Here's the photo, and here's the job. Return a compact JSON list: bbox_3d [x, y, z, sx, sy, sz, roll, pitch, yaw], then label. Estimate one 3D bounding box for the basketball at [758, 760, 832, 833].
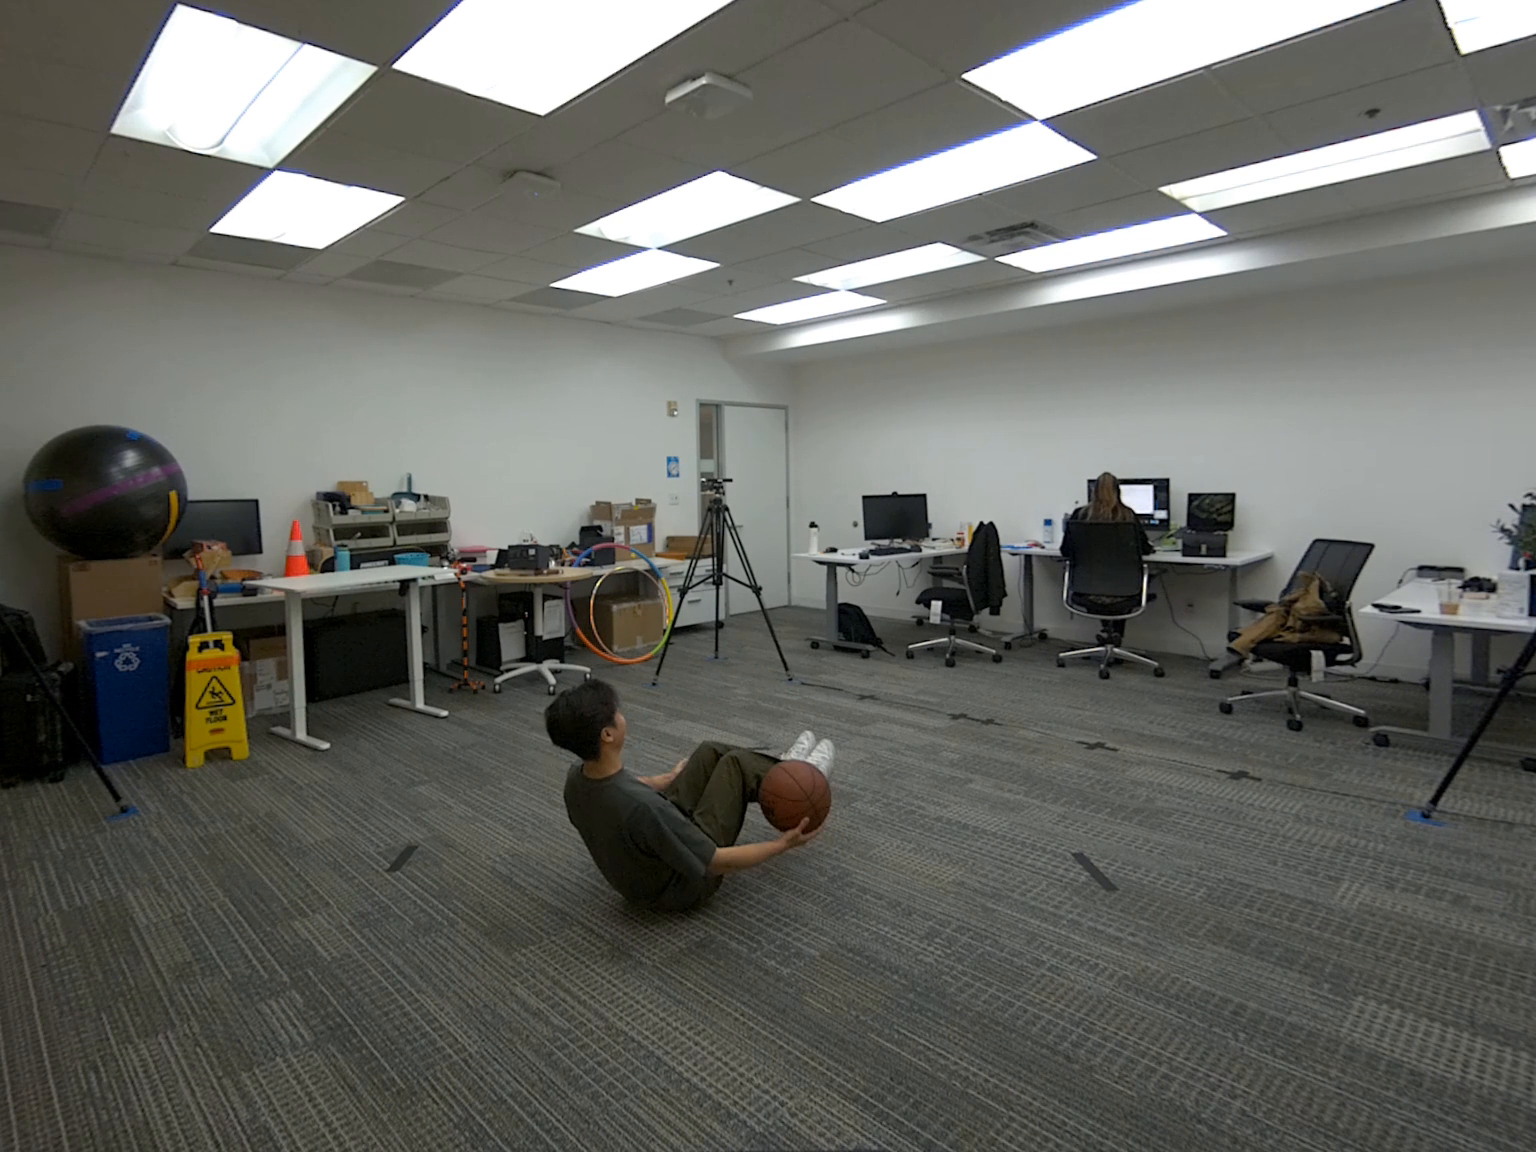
[{"bbox_3d":[0.086,0.719,2.837,0.236,0.235,0.237,-1,5,-2],"label":"basketball"}]
